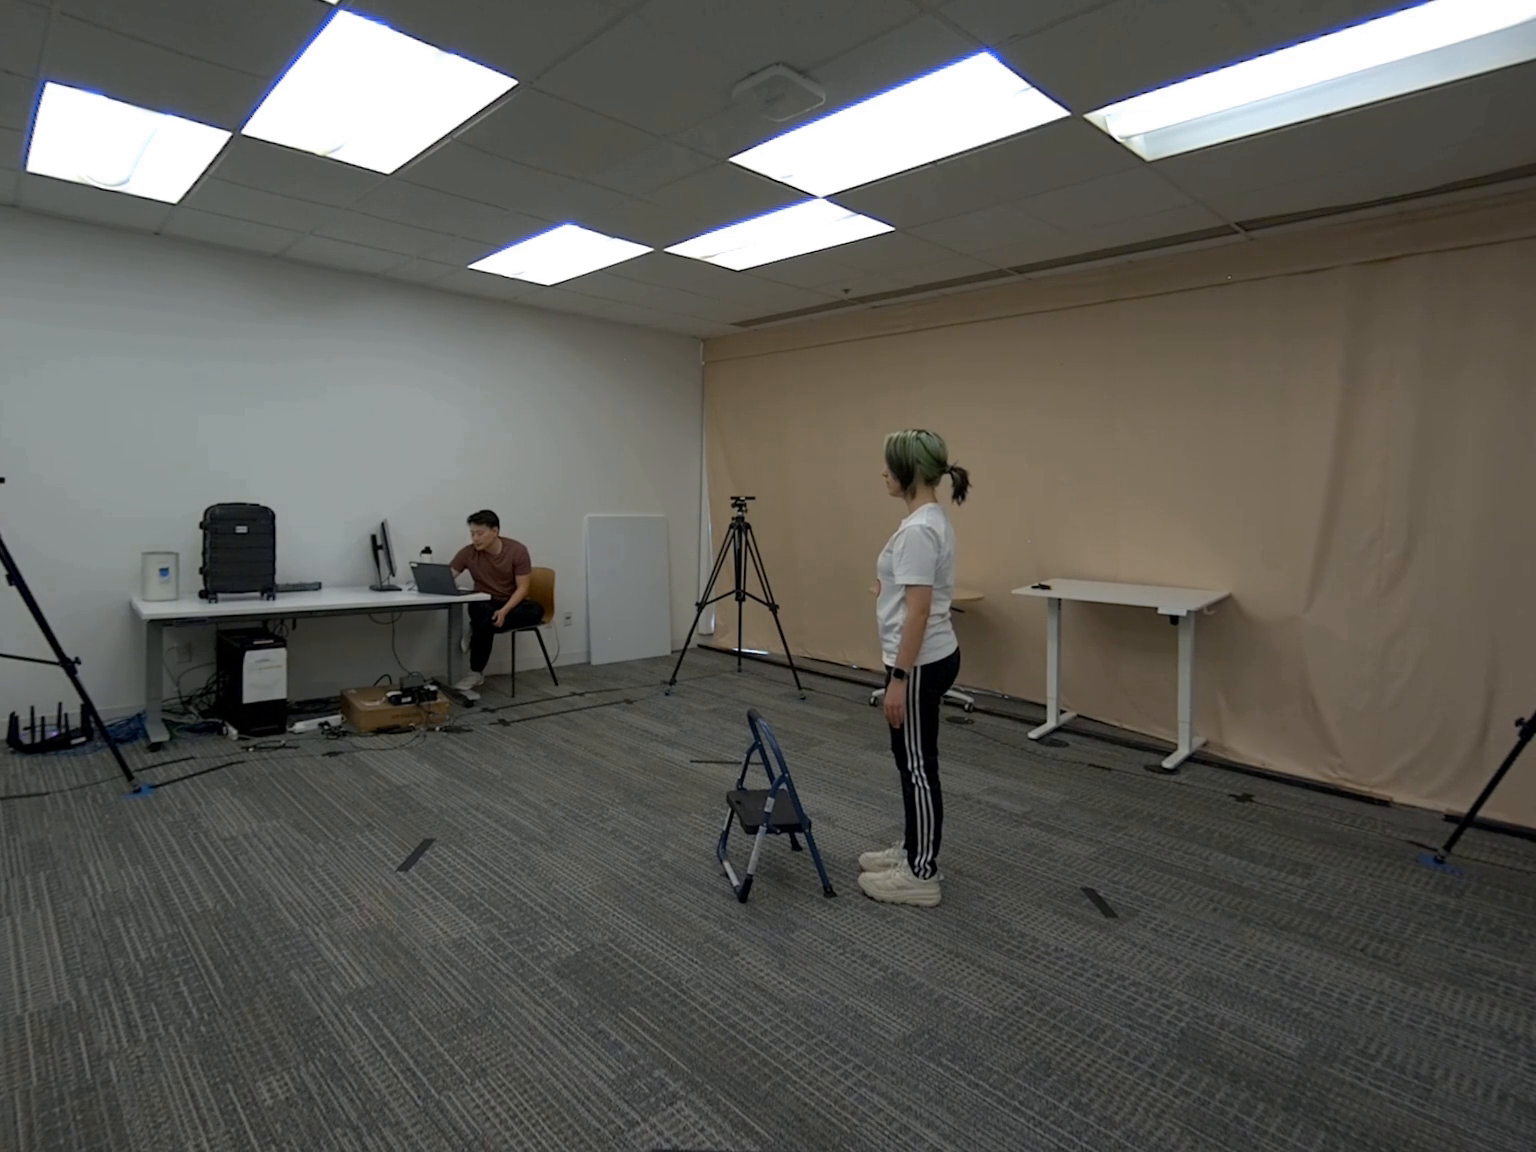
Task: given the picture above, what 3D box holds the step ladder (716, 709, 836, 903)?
[{"bbox_3d":[0.020,0.805,3.109,0.345,0.605,0.436,1,2,-15],"label":"step ladder"}]
